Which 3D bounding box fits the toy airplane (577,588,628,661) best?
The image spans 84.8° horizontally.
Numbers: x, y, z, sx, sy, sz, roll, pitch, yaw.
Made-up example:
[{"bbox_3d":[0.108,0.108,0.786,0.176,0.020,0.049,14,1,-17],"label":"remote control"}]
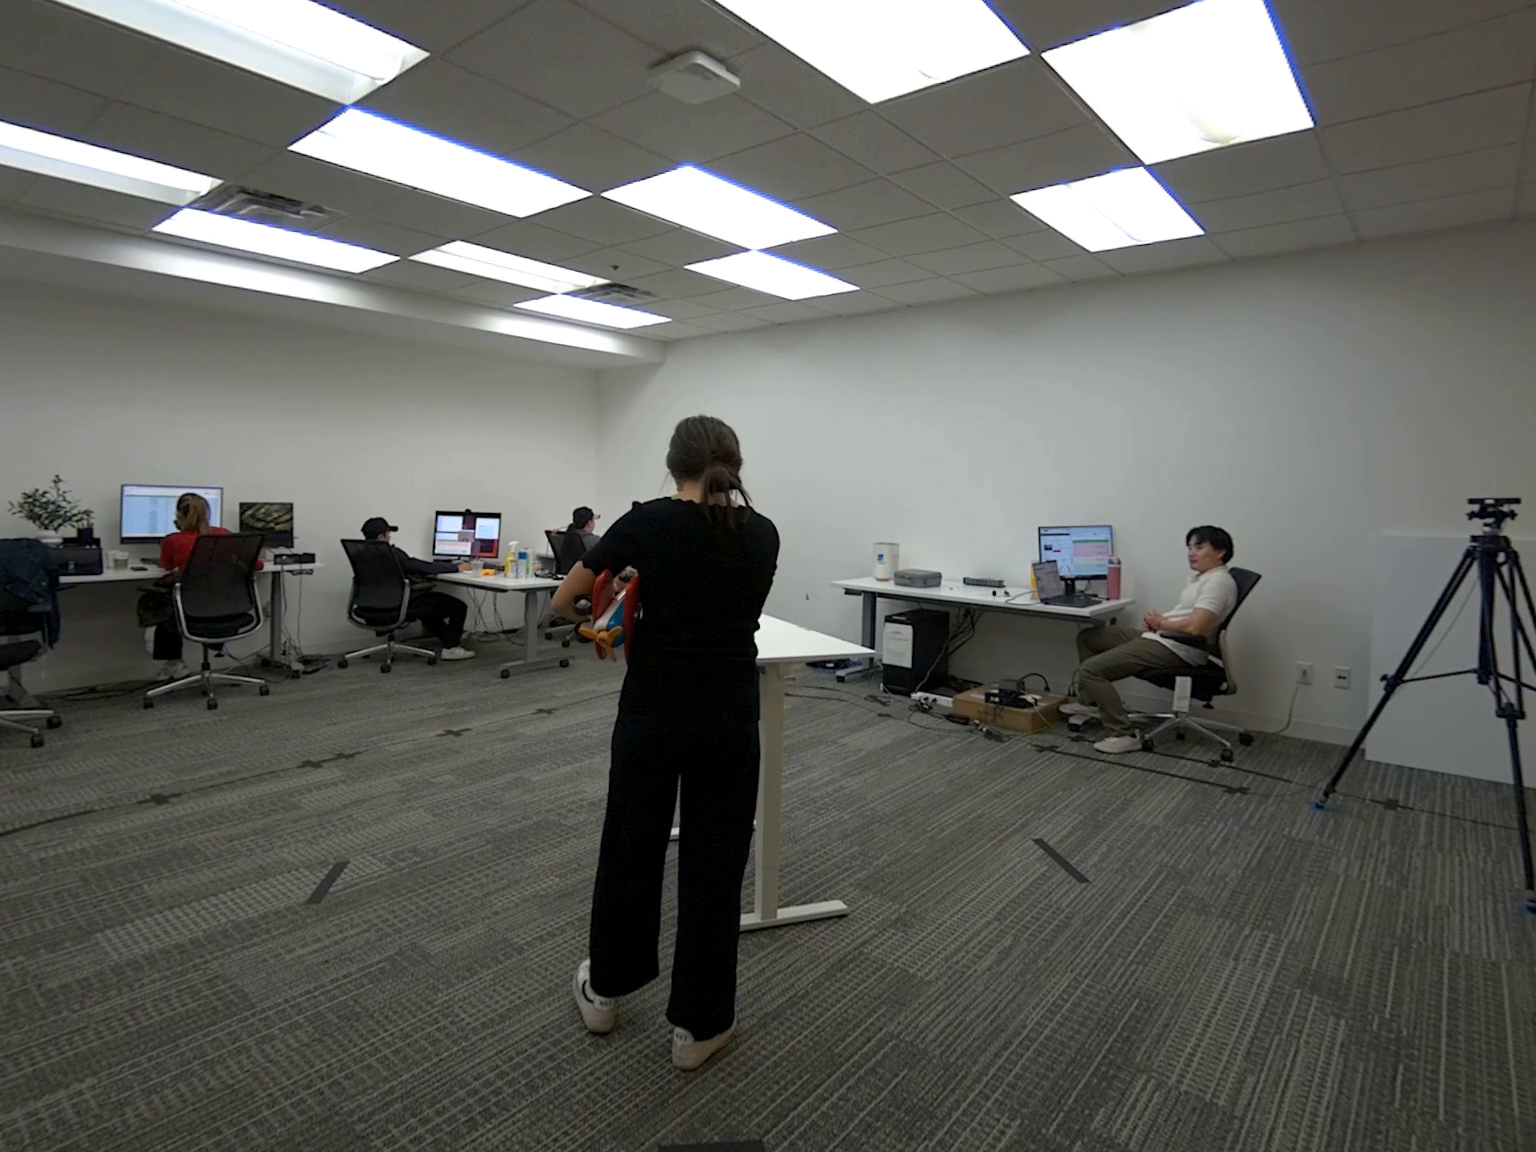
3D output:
[{"bbox_3d":[-0.376,0.064,2.102,0.161,0.260,0.243,26,-21,21],"label":"toy airplane"}]
